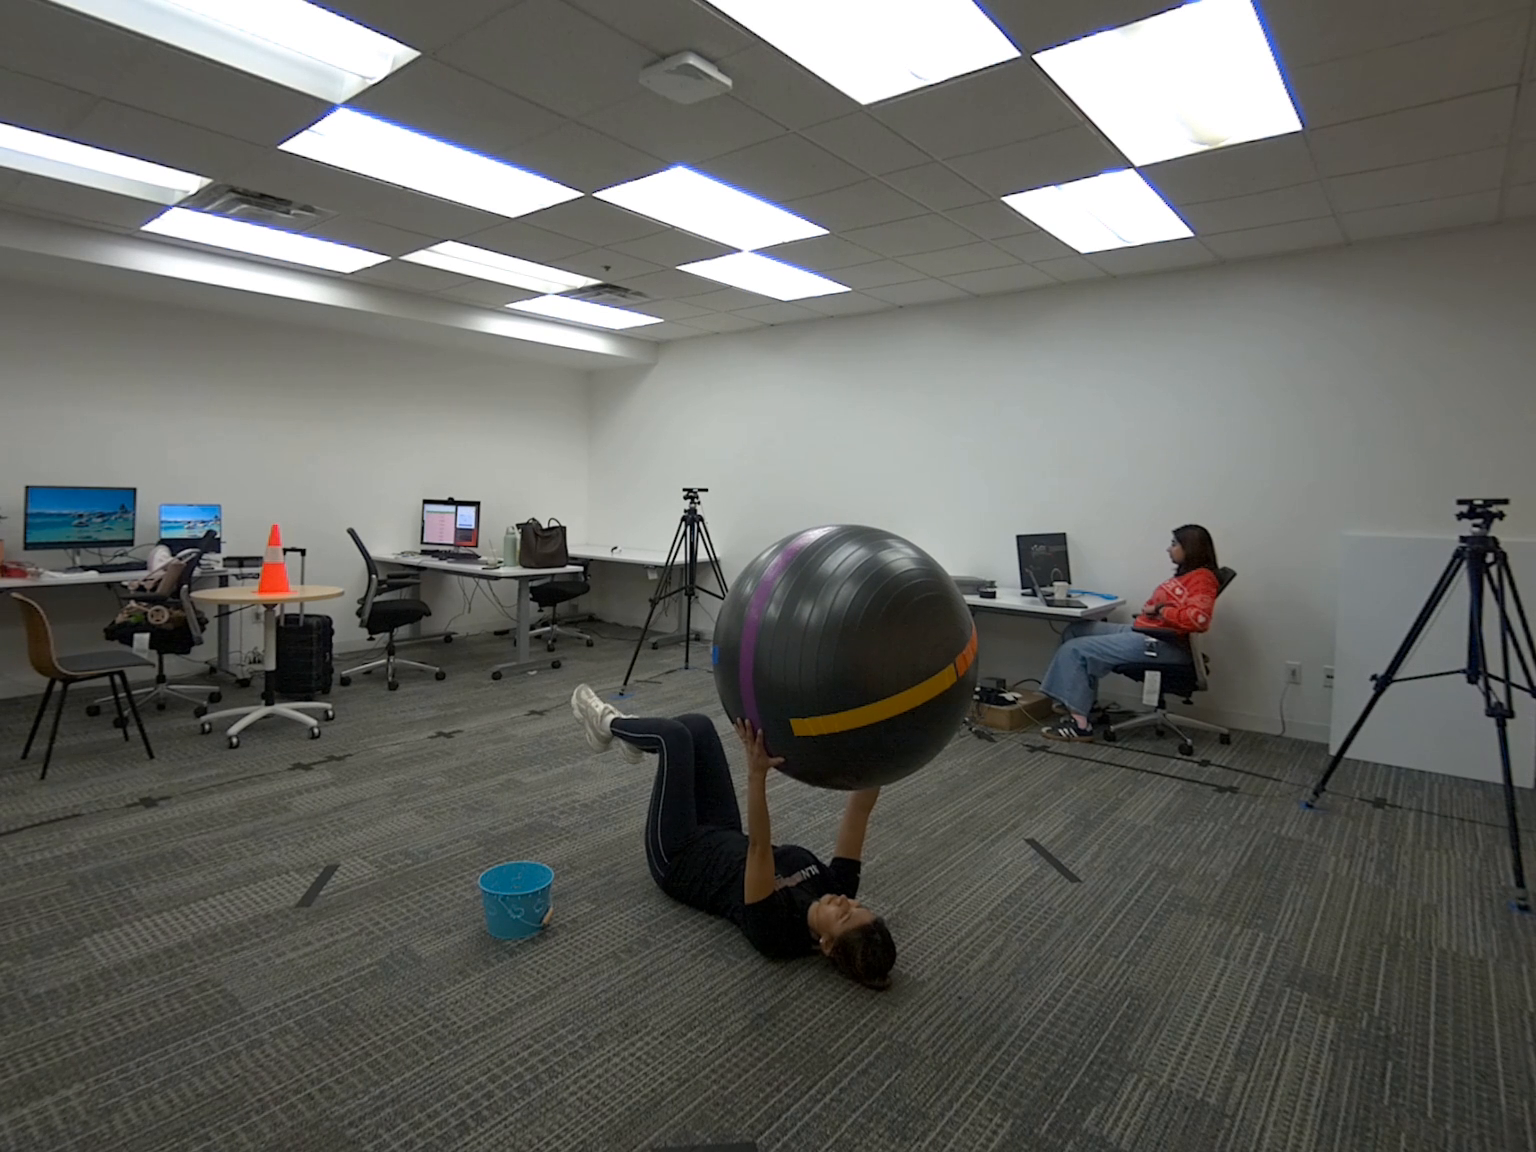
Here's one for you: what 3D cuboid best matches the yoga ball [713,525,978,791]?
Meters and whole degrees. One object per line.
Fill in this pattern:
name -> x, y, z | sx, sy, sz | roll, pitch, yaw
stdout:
yoga ball -> 0.210, 0.229, 2.465 | 0.757, 0.756, 0.761 | -3, 3, -2
